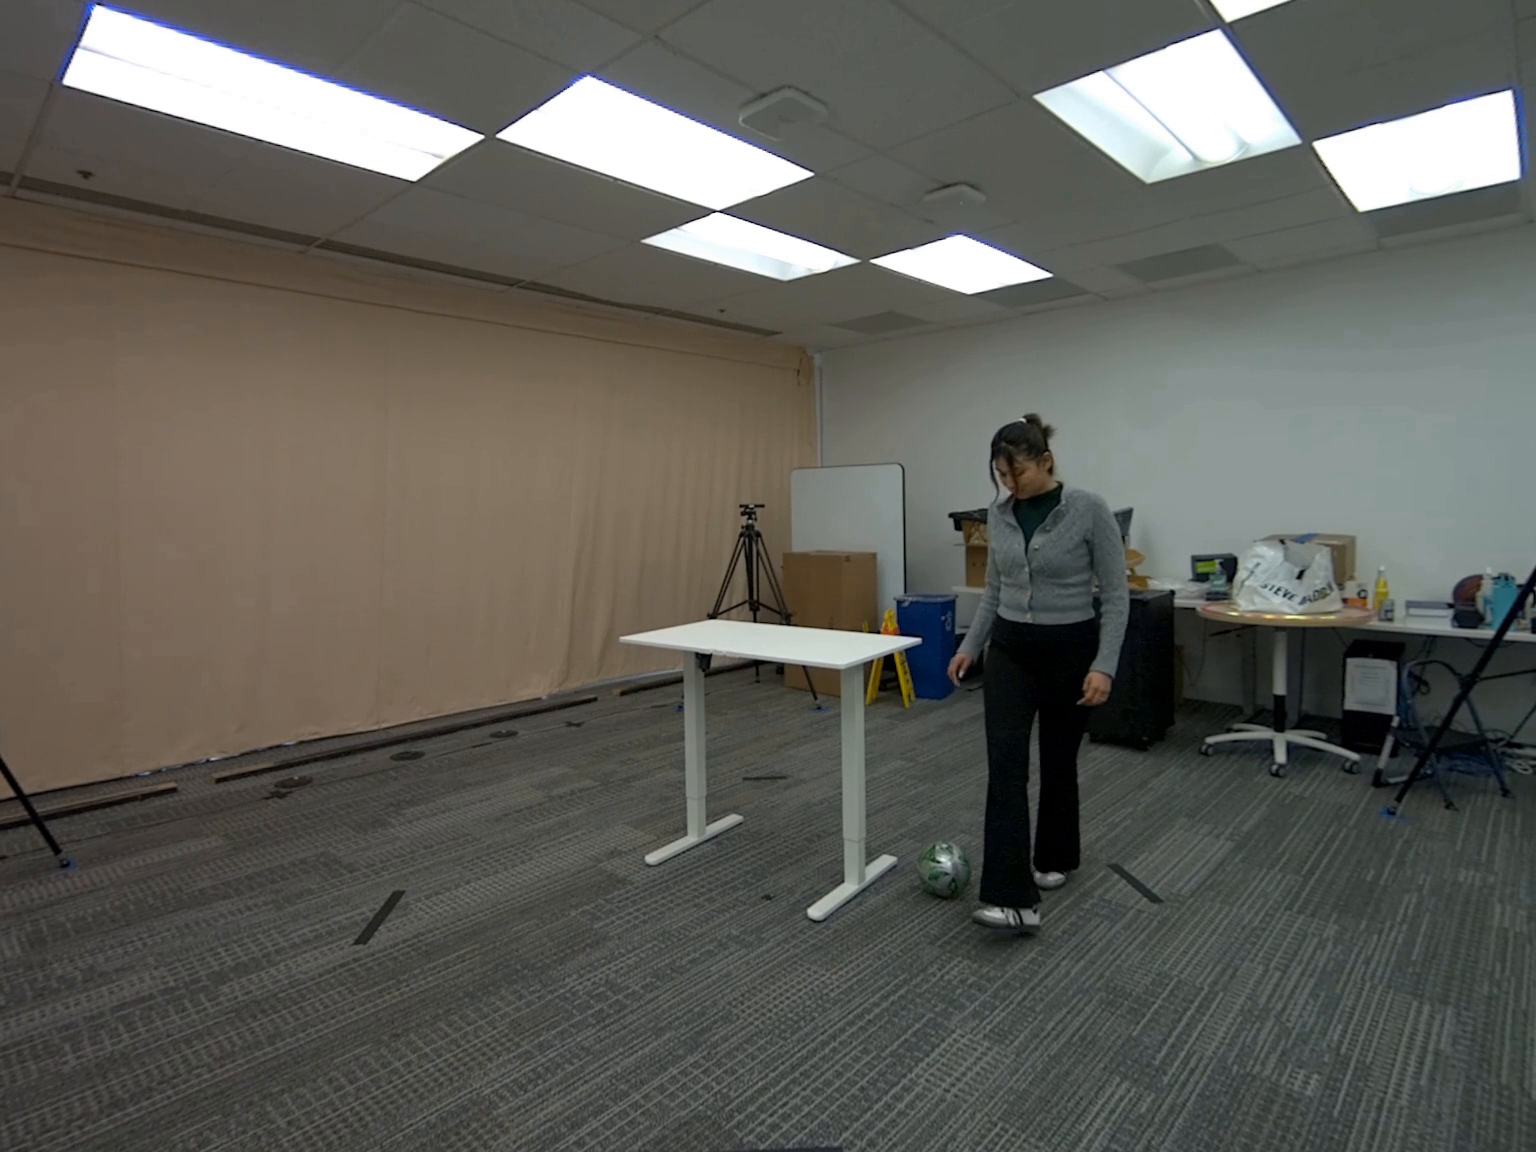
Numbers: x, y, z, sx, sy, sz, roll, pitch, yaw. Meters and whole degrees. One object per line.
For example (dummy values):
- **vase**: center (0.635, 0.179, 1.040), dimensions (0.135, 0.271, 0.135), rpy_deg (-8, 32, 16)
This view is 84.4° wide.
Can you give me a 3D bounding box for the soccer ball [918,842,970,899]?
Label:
- **soccer ball**: center (0.629, 1.039, 2.980), dimensions (0.187, 0.187, 0.188), rpy_deg (-1, 4, -2)
